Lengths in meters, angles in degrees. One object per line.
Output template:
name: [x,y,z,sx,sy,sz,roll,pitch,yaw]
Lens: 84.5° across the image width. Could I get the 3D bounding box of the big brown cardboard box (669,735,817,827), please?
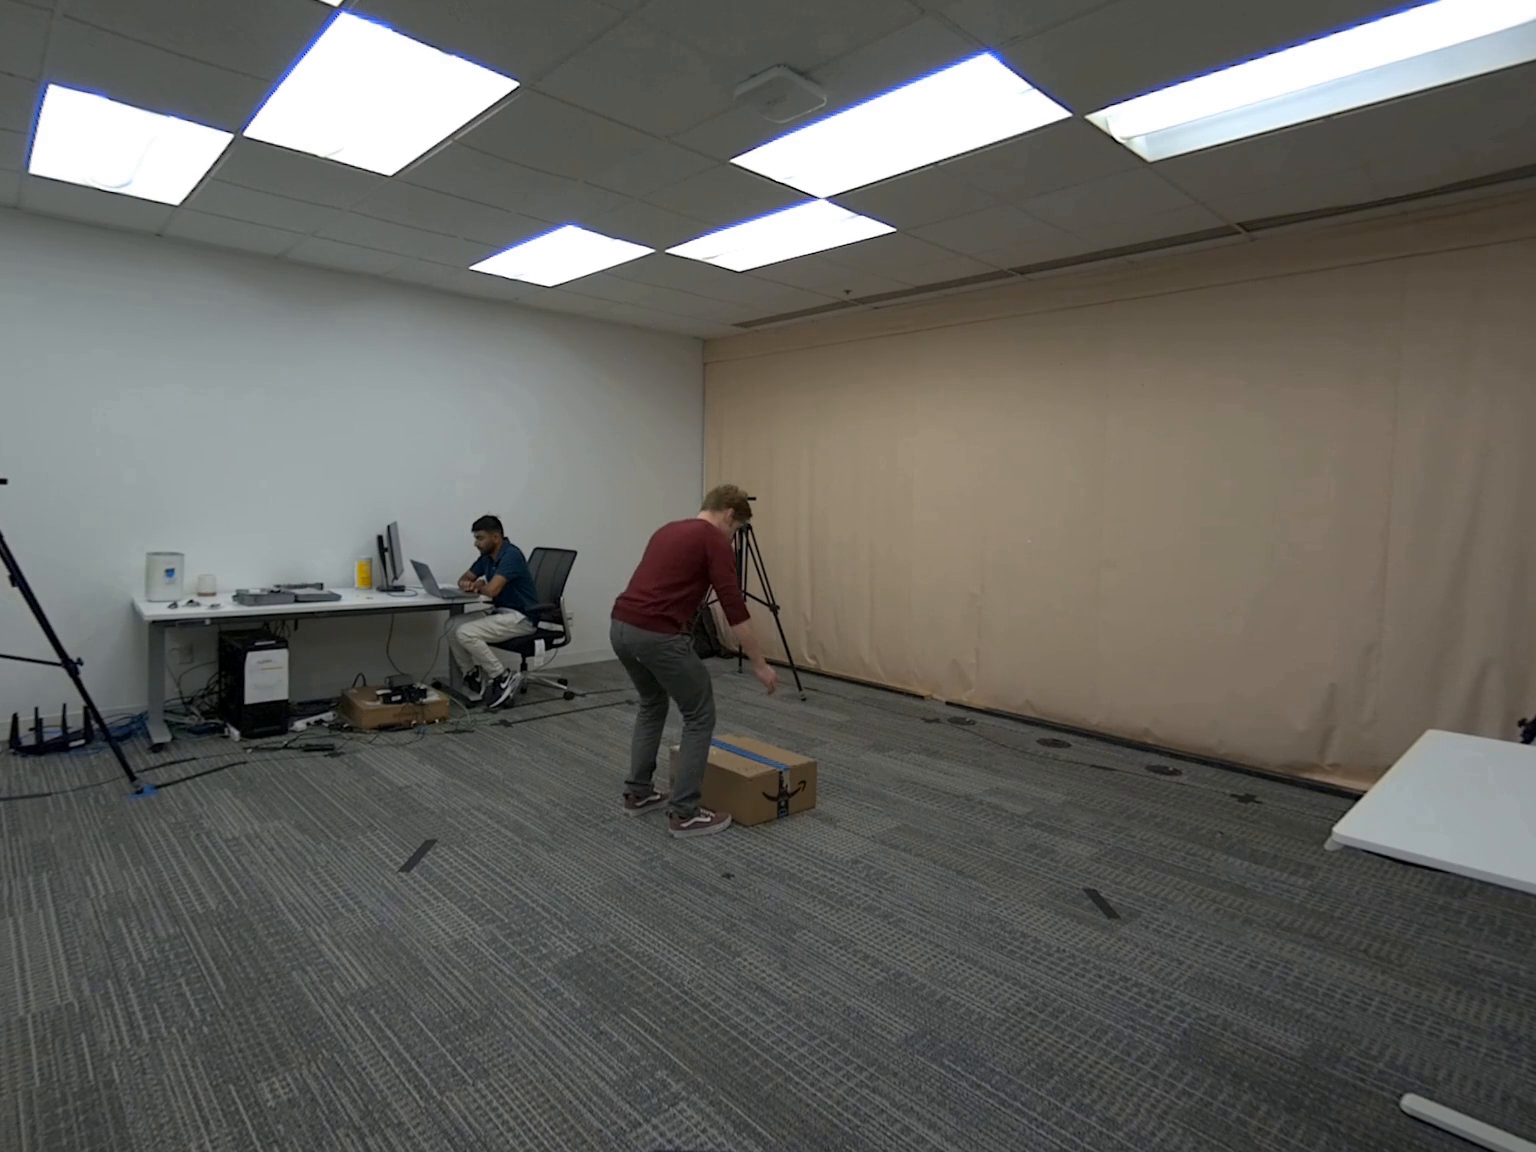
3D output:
big brown cardboard box: [-0.134,0.922,3.904,0.408,0.232,0.604,-2,6,-42]
